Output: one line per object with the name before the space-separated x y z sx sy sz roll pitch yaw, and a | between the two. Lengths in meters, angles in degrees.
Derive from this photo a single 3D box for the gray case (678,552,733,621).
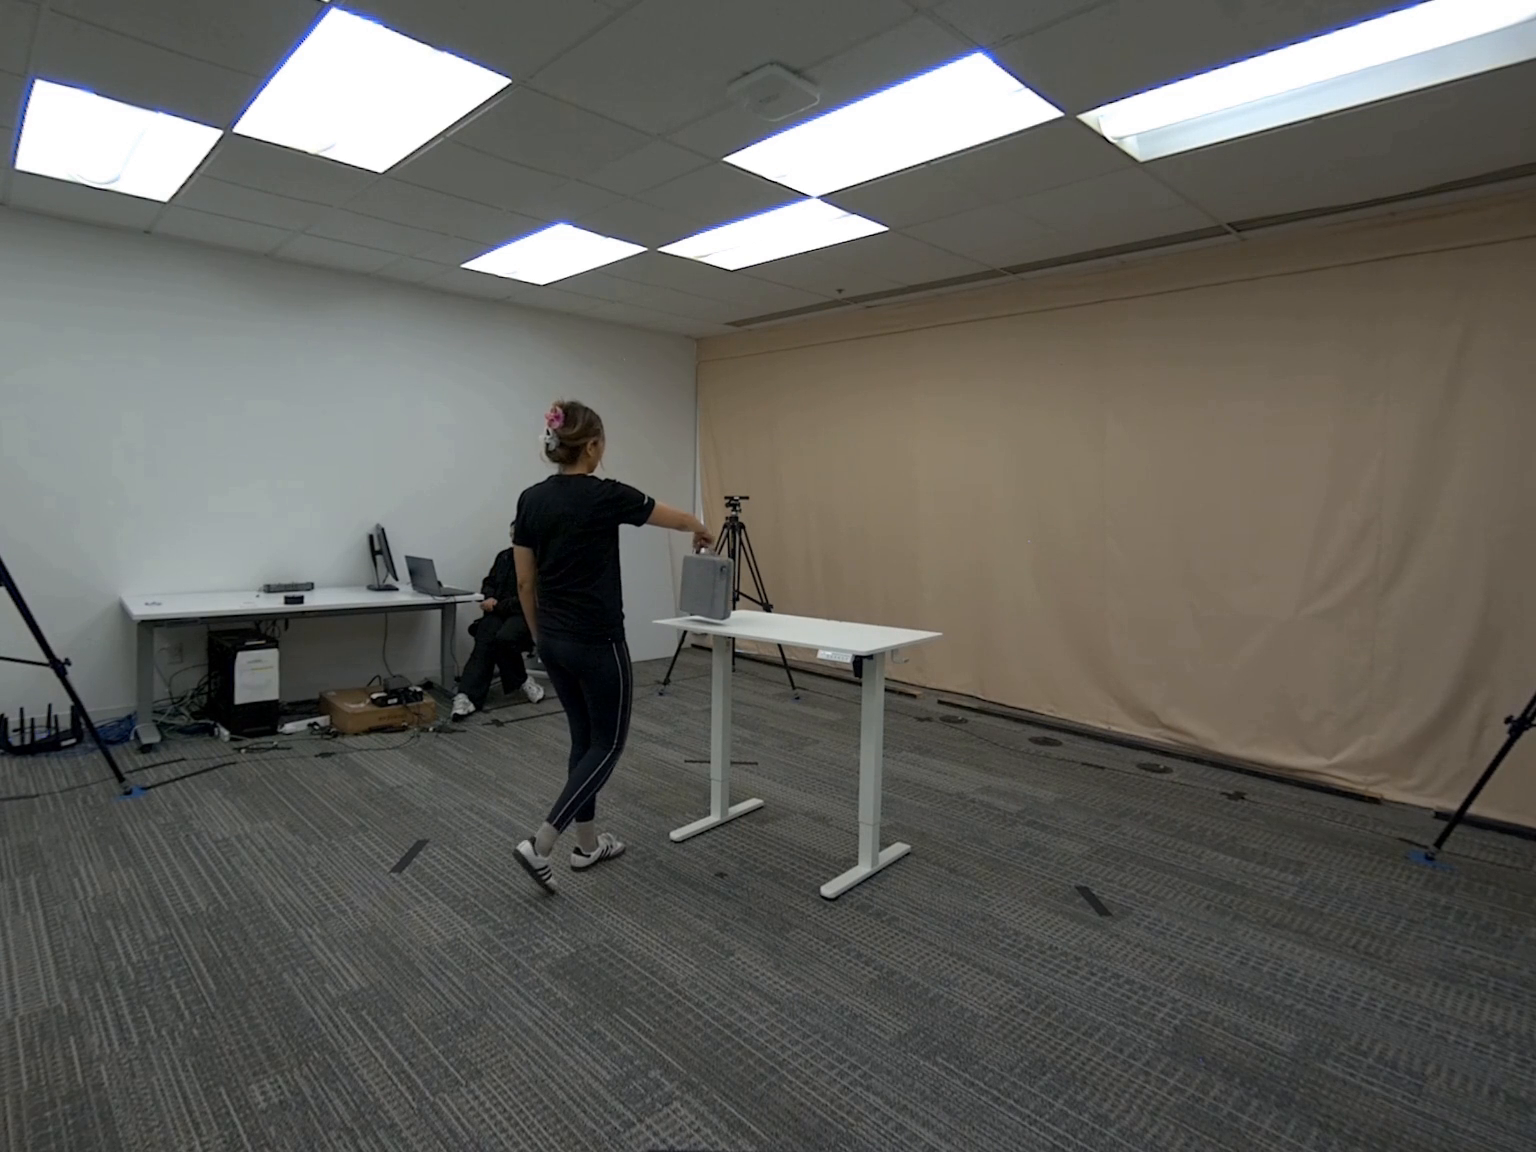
gray case | -0.257 0.036 3.427 0.102 0.260 0.263 1 3 -36
